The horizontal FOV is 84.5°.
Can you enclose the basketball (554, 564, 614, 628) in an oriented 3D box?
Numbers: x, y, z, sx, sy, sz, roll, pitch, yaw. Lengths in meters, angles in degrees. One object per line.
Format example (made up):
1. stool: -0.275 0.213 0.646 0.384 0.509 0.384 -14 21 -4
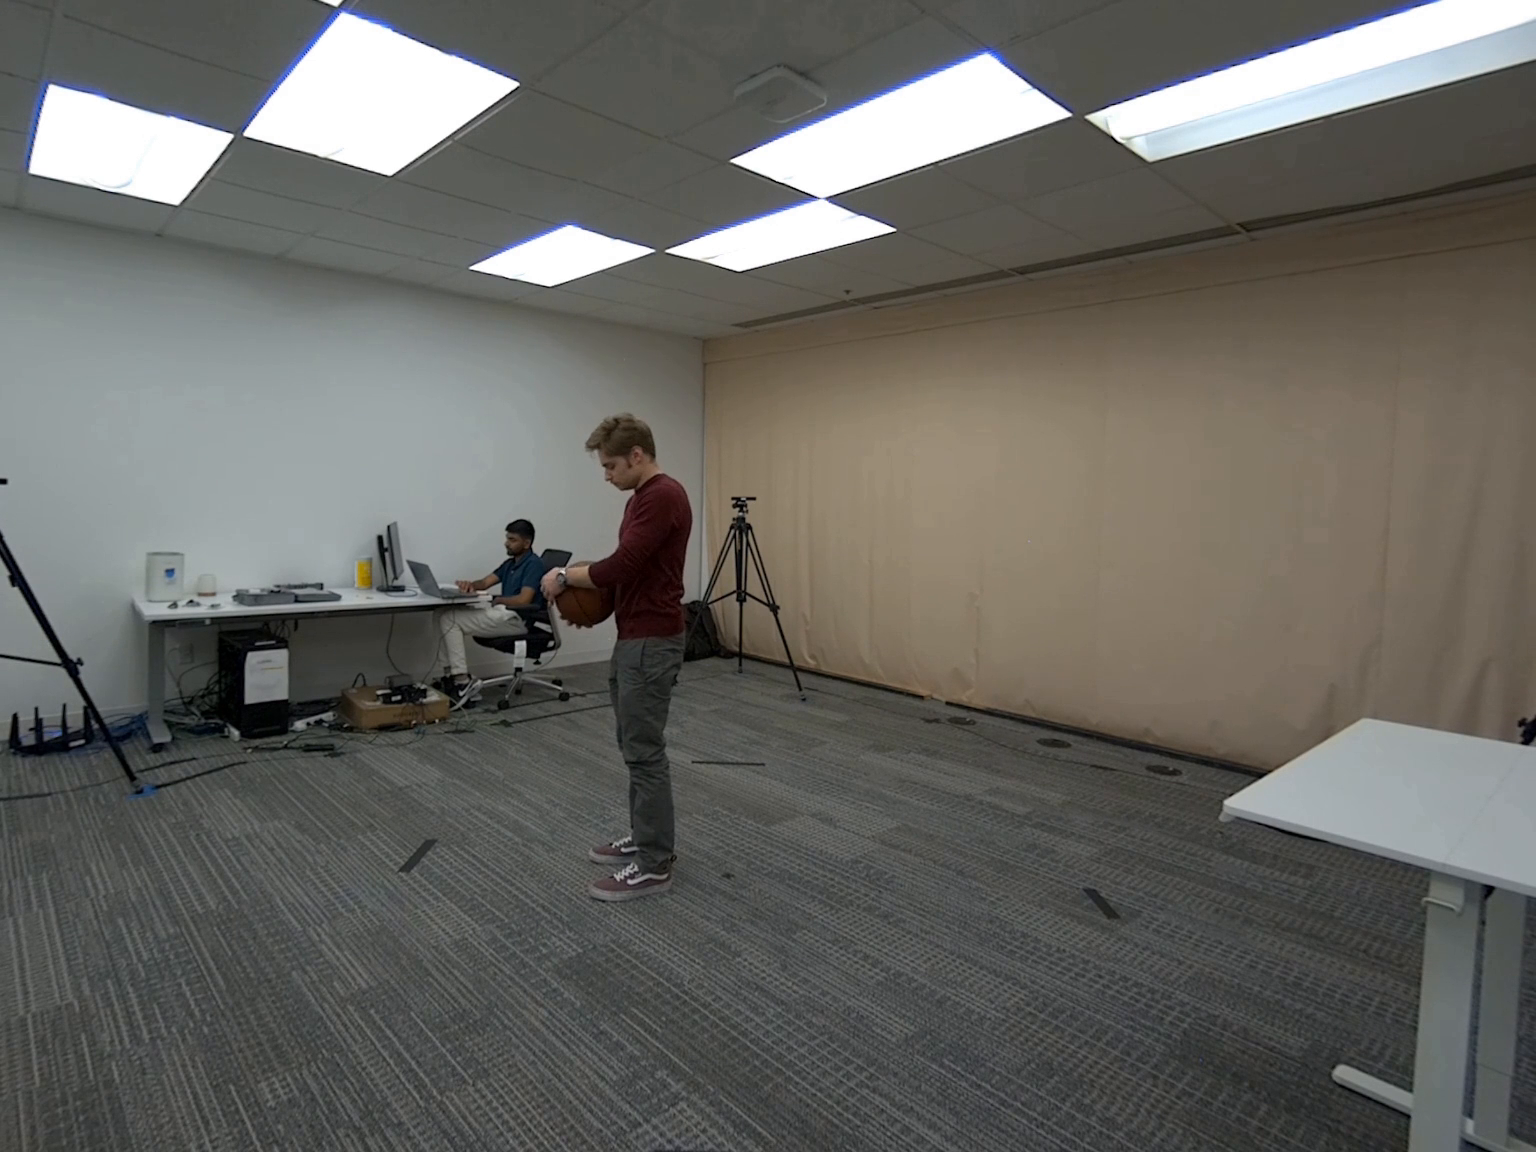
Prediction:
1. basketball: -0.661 0.065 3.092 0.236 0.235 0.237 1 4 -1
